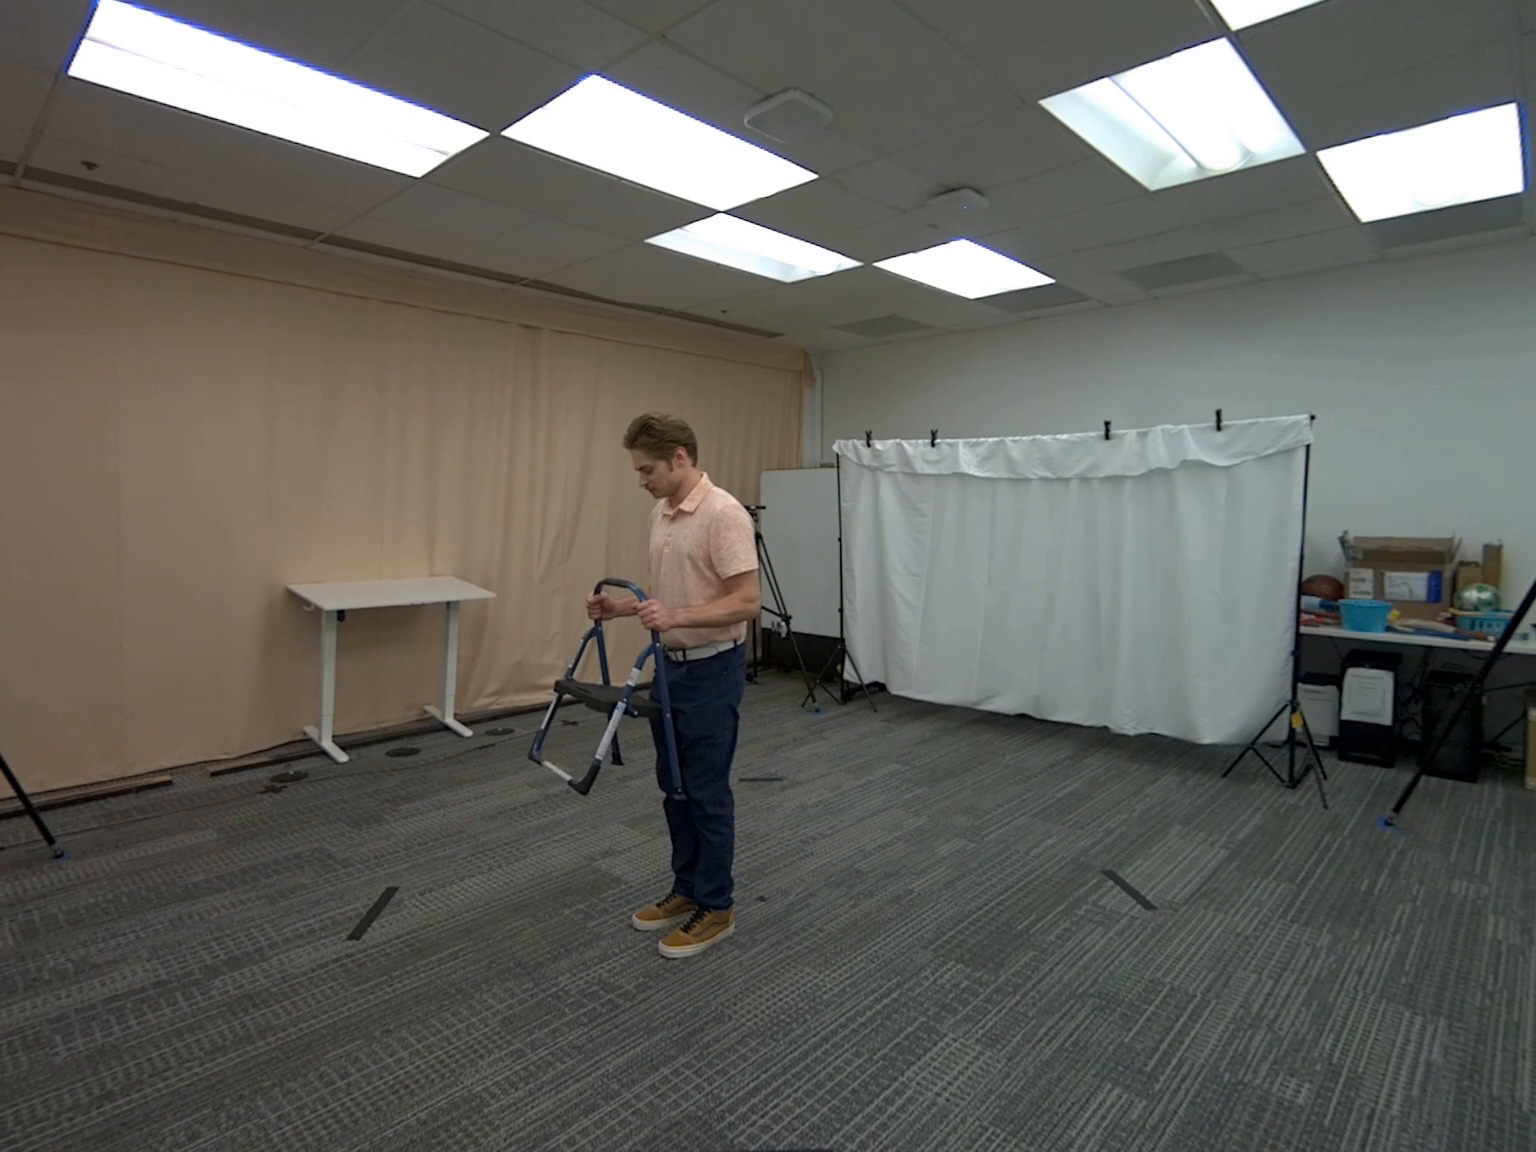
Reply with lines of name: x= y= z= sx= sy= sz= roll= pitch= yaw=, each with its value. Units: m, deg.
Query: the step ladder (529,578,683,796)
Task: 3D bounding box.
step ladder: x=-0.458 y=0.331 z=2.598 sx=0.338 sy=0.607 sz=0.444 roll=13 pitch=-7 yaw=-36
